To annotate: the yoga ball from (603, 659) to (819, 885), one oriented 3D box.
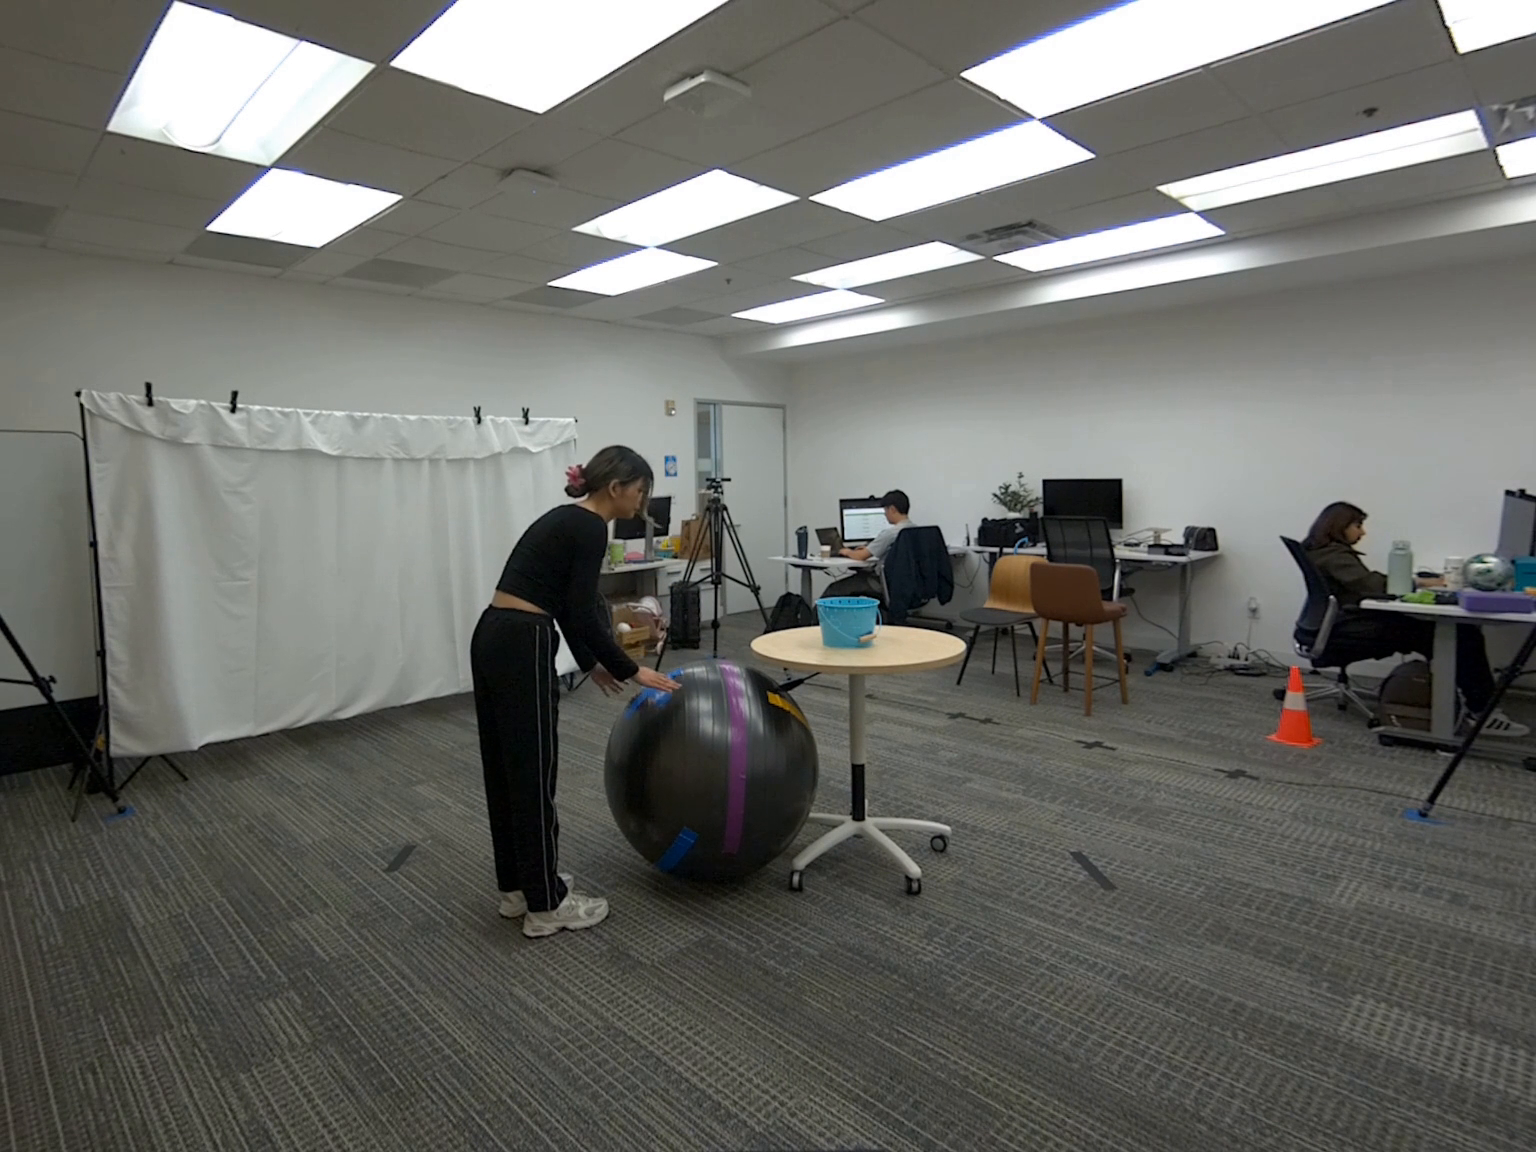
[{"bbox_3d":[-0.209,0.688,3.032,0.757,0.755,0.762,-1,5,-2],"label":"yoga ball"}]
